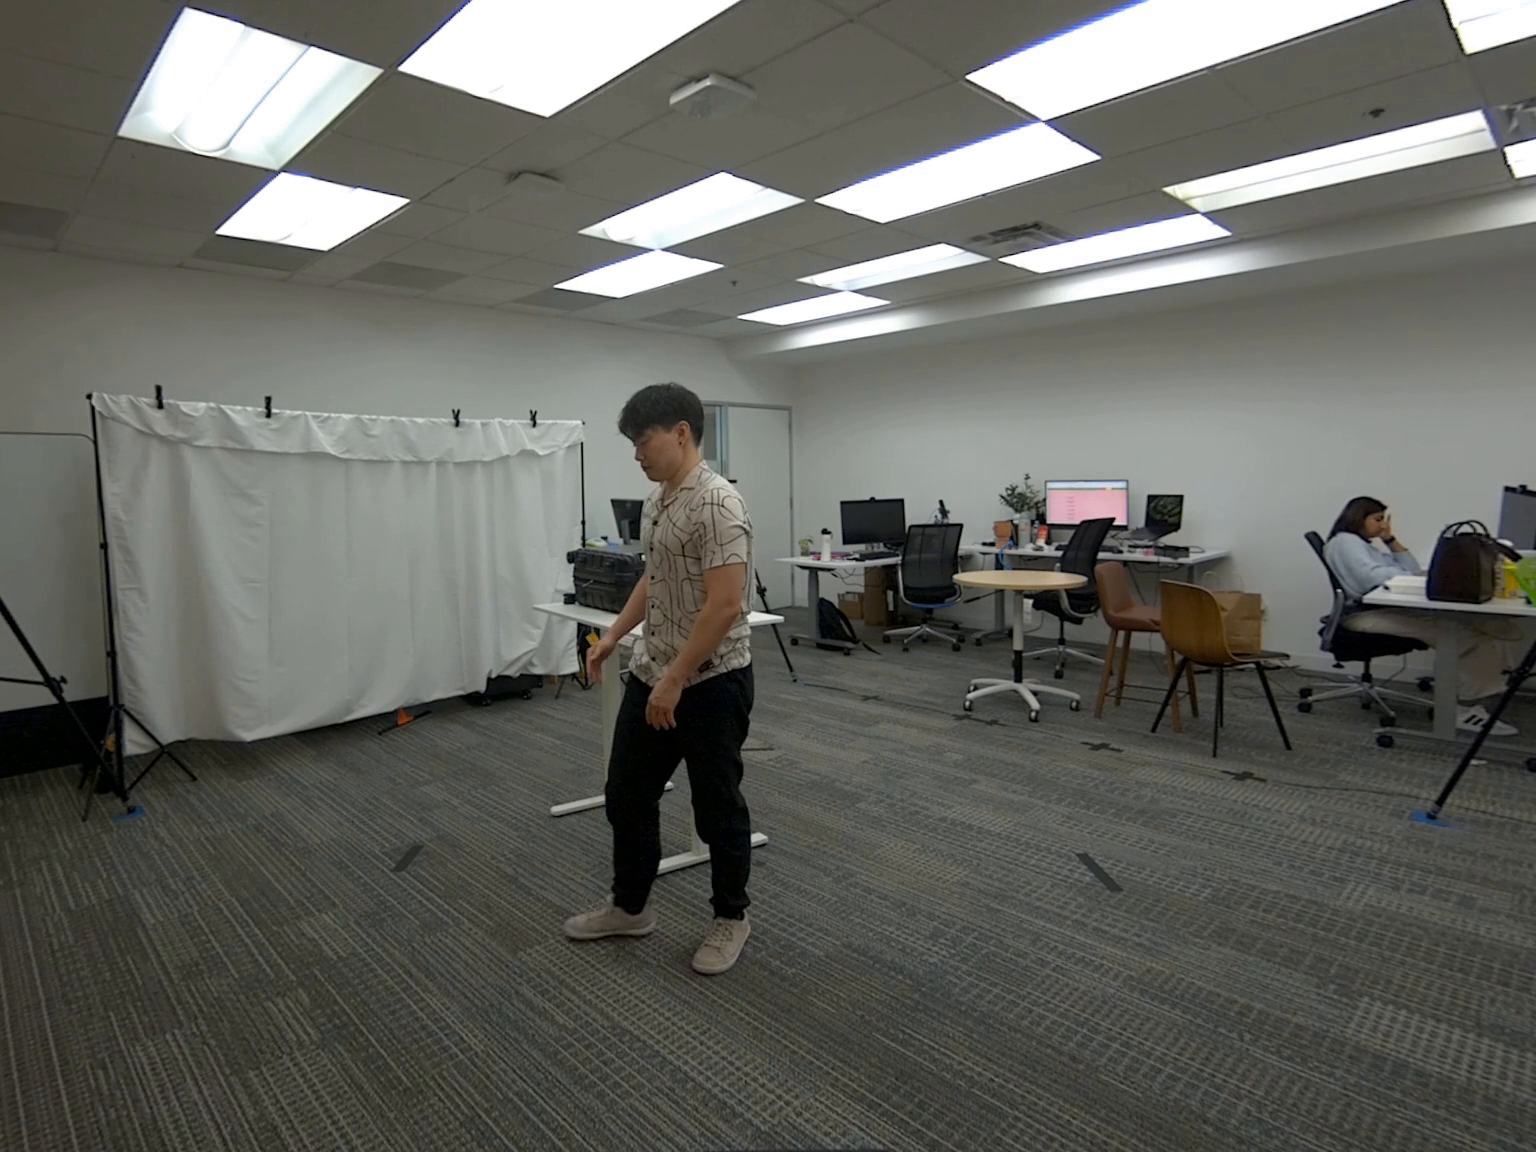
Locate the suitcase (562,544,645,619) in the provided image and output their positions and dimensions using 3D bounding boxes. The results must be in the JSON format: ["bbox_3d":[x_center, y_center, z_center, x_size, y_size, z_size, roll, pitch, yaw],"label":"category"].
[{"bbox_3d":[-0.566,0.010,3.569,0.366,0.247,0.566,-4,6,-37],"label":"suitcase"}]
